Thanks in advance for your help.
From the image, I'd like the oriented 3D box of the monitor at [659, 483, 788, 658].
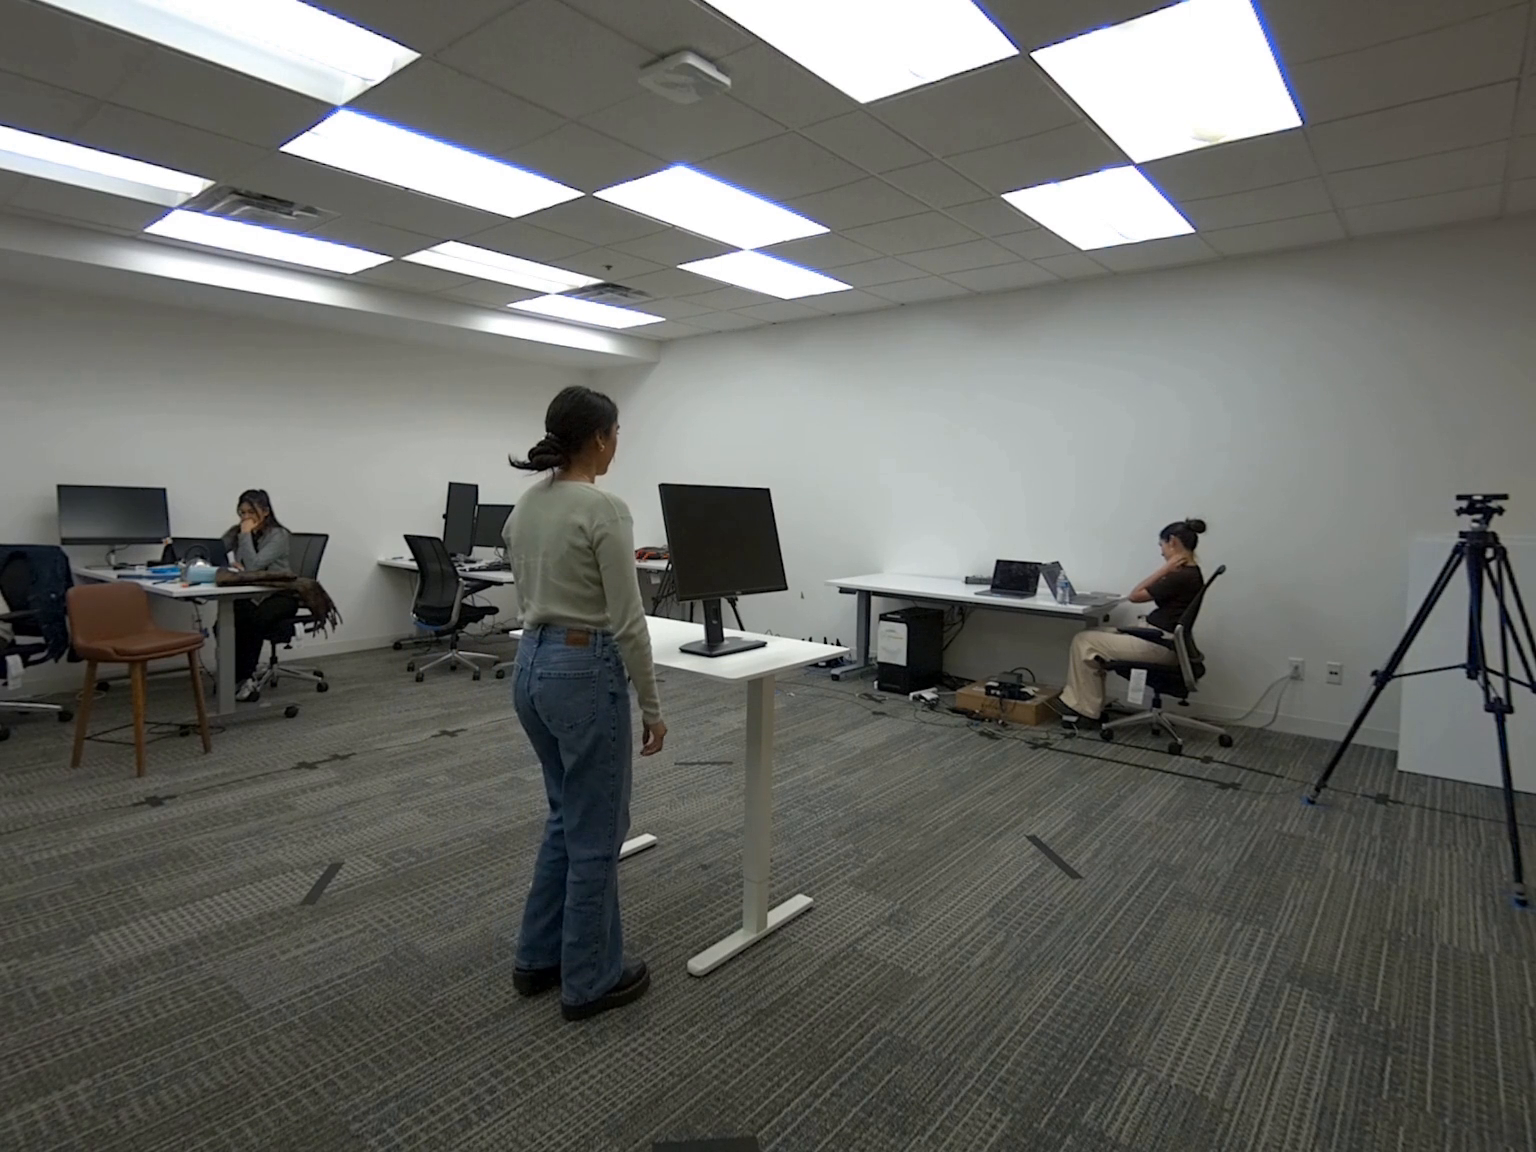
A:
[{"bbox_3d":[-0.158,-0.030,2.681,0.180,0.514,0.514,6,5,37],"label":"monitor"}]
